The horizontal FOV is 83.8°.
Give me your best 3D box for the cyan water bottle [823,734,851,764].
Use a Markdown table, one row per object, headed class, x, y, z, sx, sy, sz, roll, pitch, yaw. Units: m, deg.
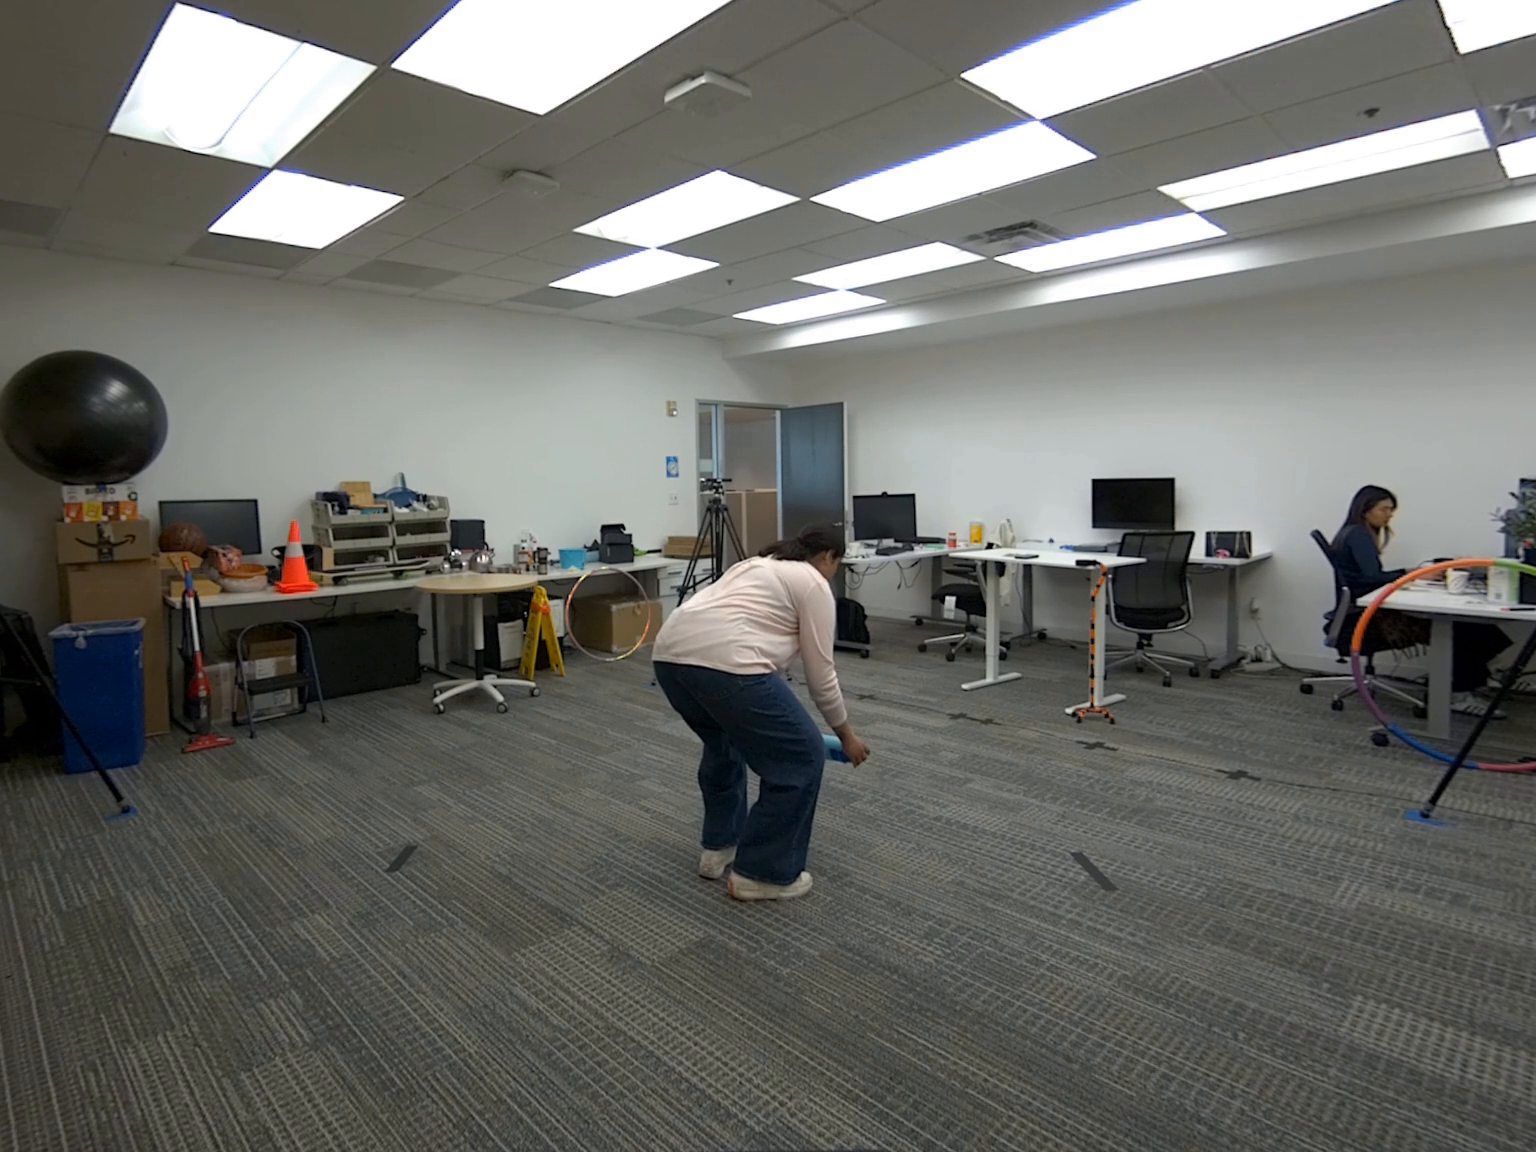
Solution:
| class | x | y | z | sx | sy | sz | roll | pitch | yaw |
| --- | --- | --- | --- | --- | --- | --- | --- | --- | --- |
| cyan water bottle | 0.237 | 0.643 | 3.188 | 0.090 | 0.092 | 0.291 | -6 | 2 | -45 |
